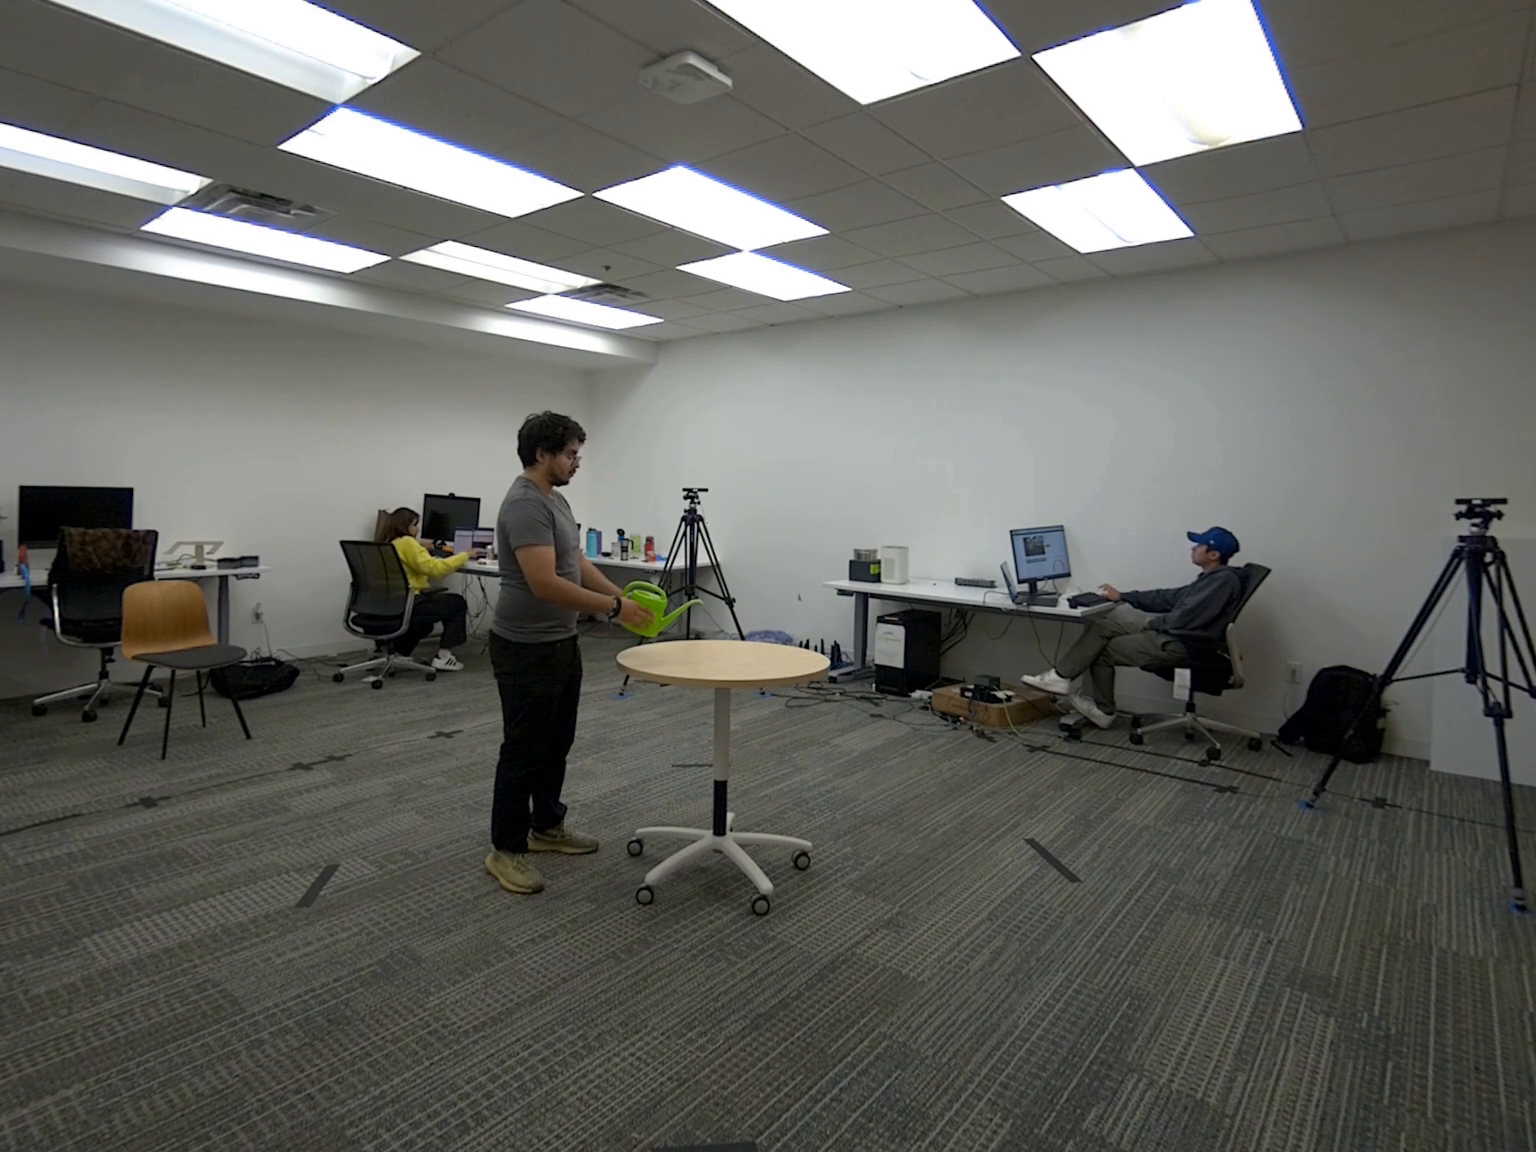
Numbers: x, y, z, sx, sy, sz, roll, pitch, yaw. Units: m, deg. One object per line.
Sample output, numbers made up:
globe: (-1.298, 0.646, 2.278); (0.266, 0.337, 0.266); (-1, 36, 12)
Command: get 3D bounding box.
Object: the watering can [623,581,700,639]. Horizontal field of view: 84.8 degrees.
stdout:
watering can: (-0.408, 0.131, 3.025); (0.283, 0.176, 0.096); (17, 5, 13)
